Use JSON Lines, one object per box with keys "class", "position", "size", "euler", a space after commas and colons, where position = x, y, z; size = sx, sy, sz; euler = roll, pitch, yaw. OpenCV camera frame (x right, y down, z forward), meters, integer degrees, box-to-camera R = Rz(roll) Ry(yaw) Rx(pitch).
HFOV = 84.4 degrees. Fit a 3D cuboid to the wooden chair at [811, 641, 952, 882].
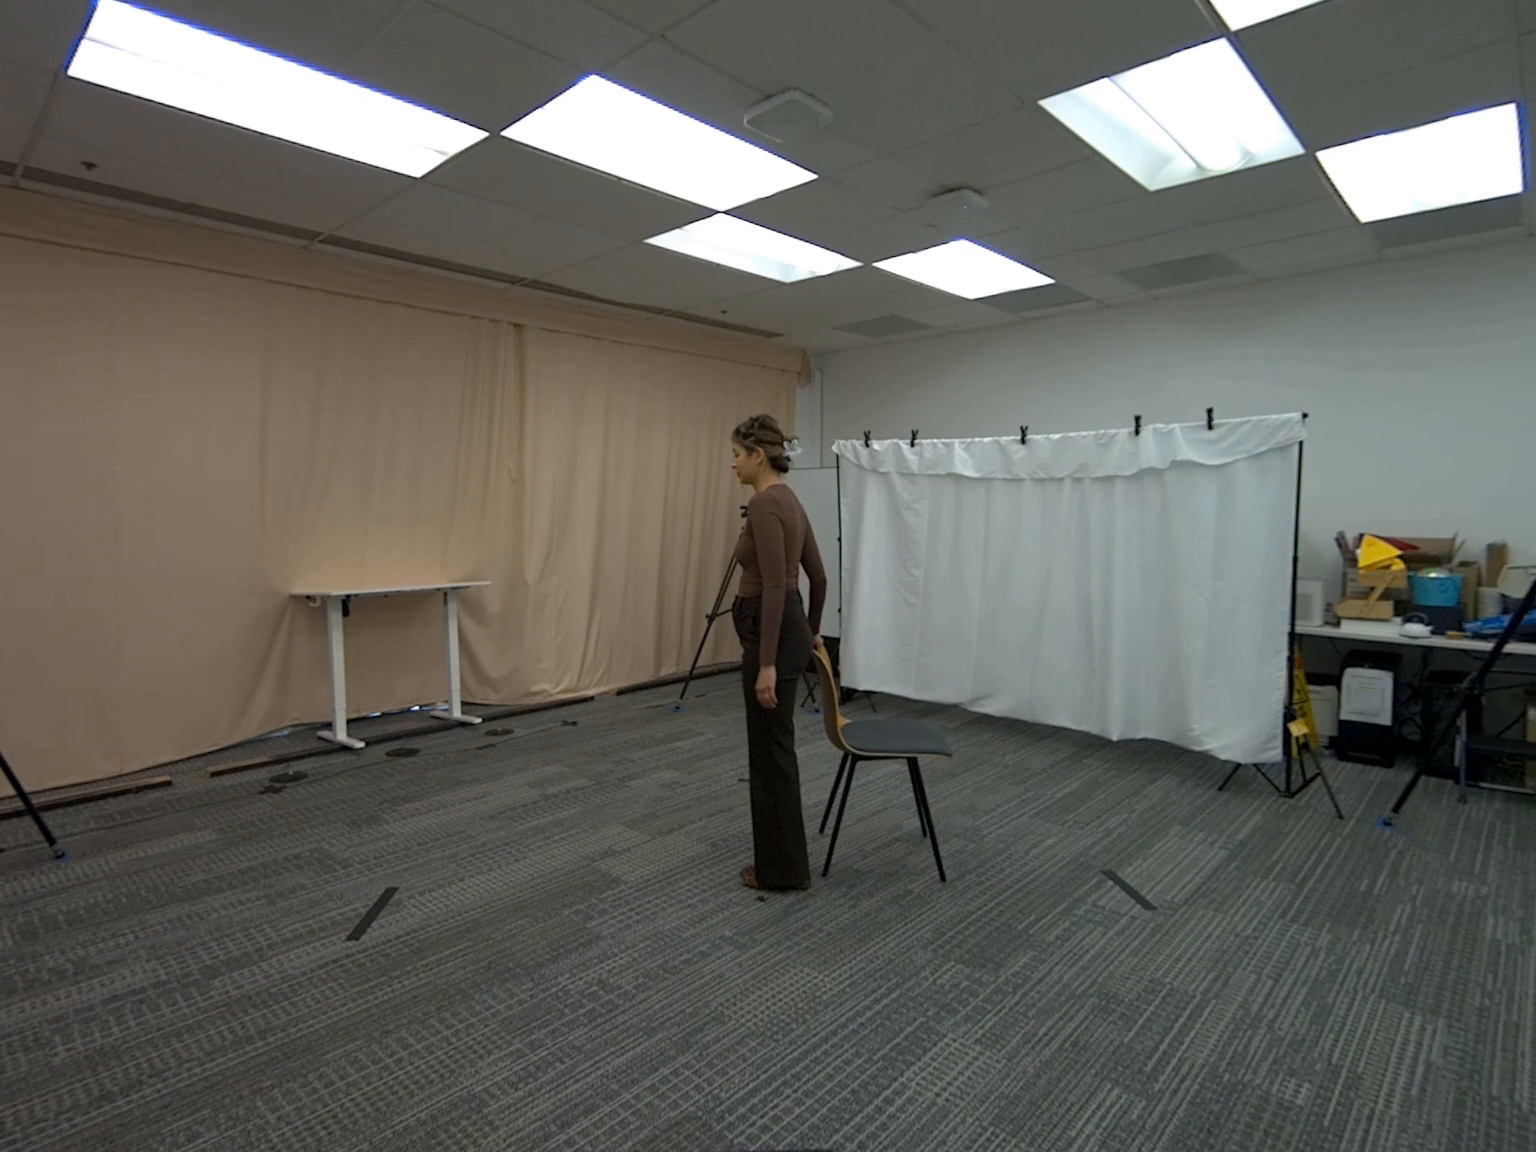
{"class": "wooden chair", "position": [0.447, 0.687, 3.329], "size": [0.526, 0.876, 0.476], "euler": [-4, 2, 4]}
